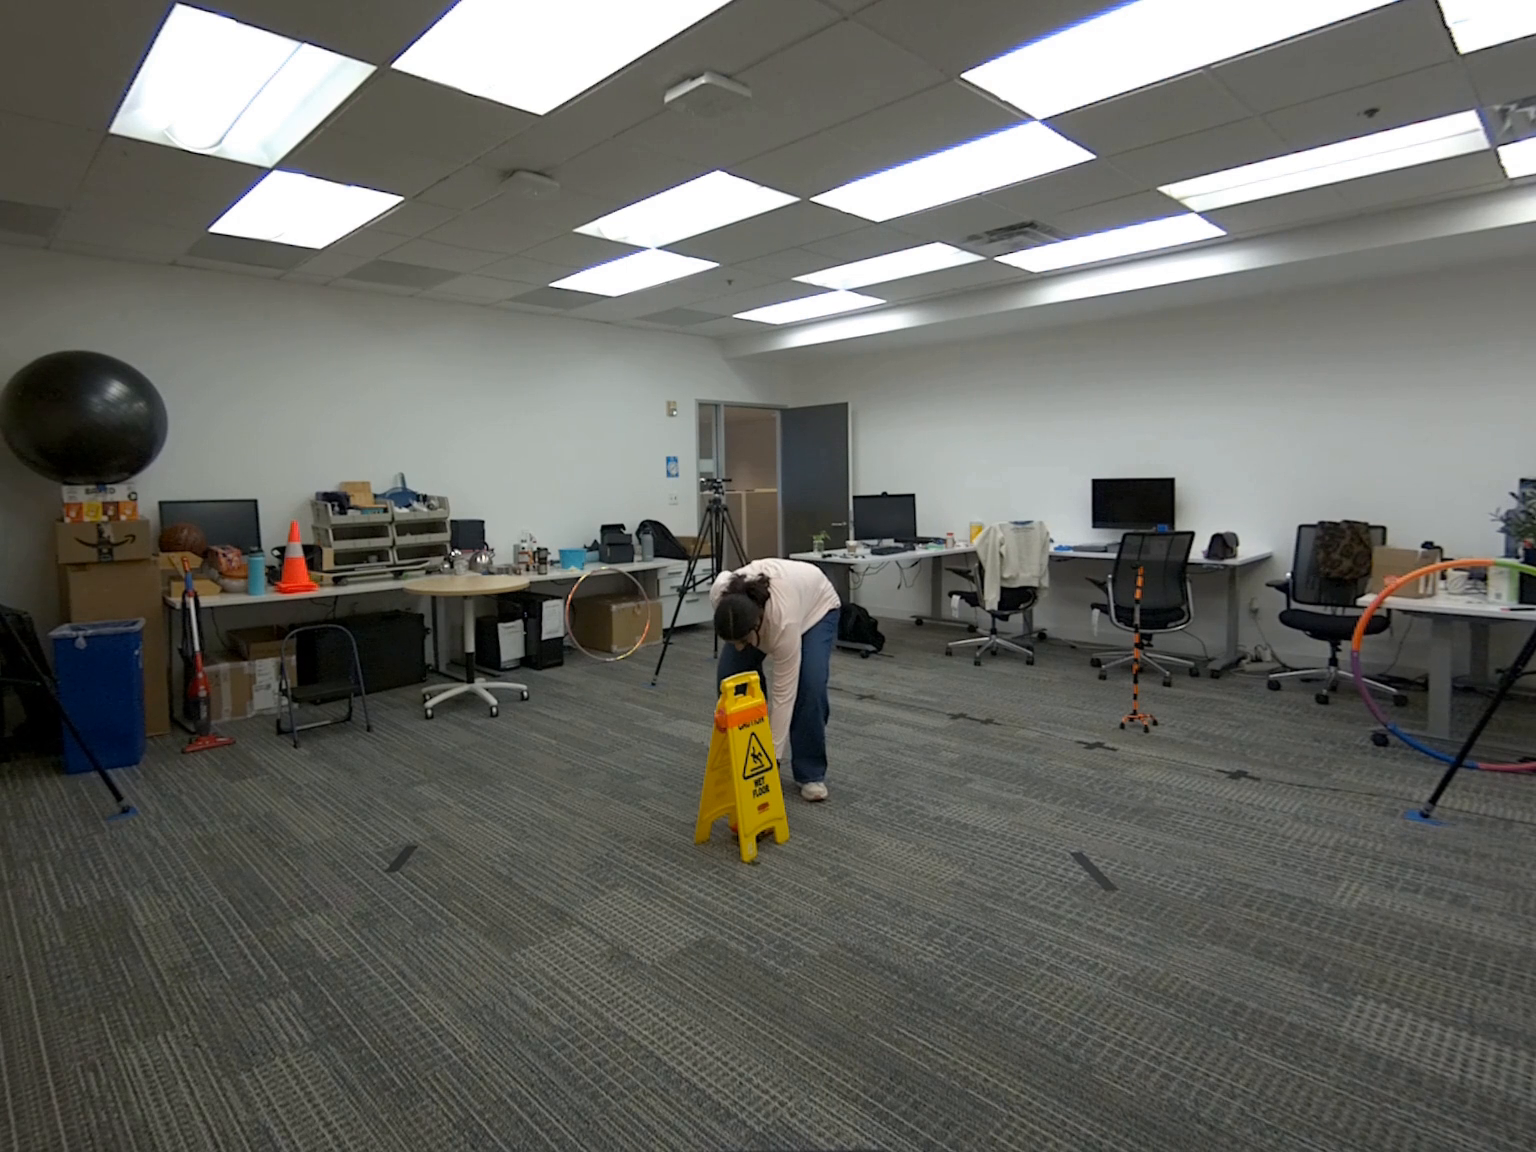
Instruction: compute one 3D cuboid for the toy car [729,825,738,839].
[{"bbox_3d":[-0.046,0.985,3.361,0.246,0.083,0.134,8,-1,-45],"label":"toy car"}]
